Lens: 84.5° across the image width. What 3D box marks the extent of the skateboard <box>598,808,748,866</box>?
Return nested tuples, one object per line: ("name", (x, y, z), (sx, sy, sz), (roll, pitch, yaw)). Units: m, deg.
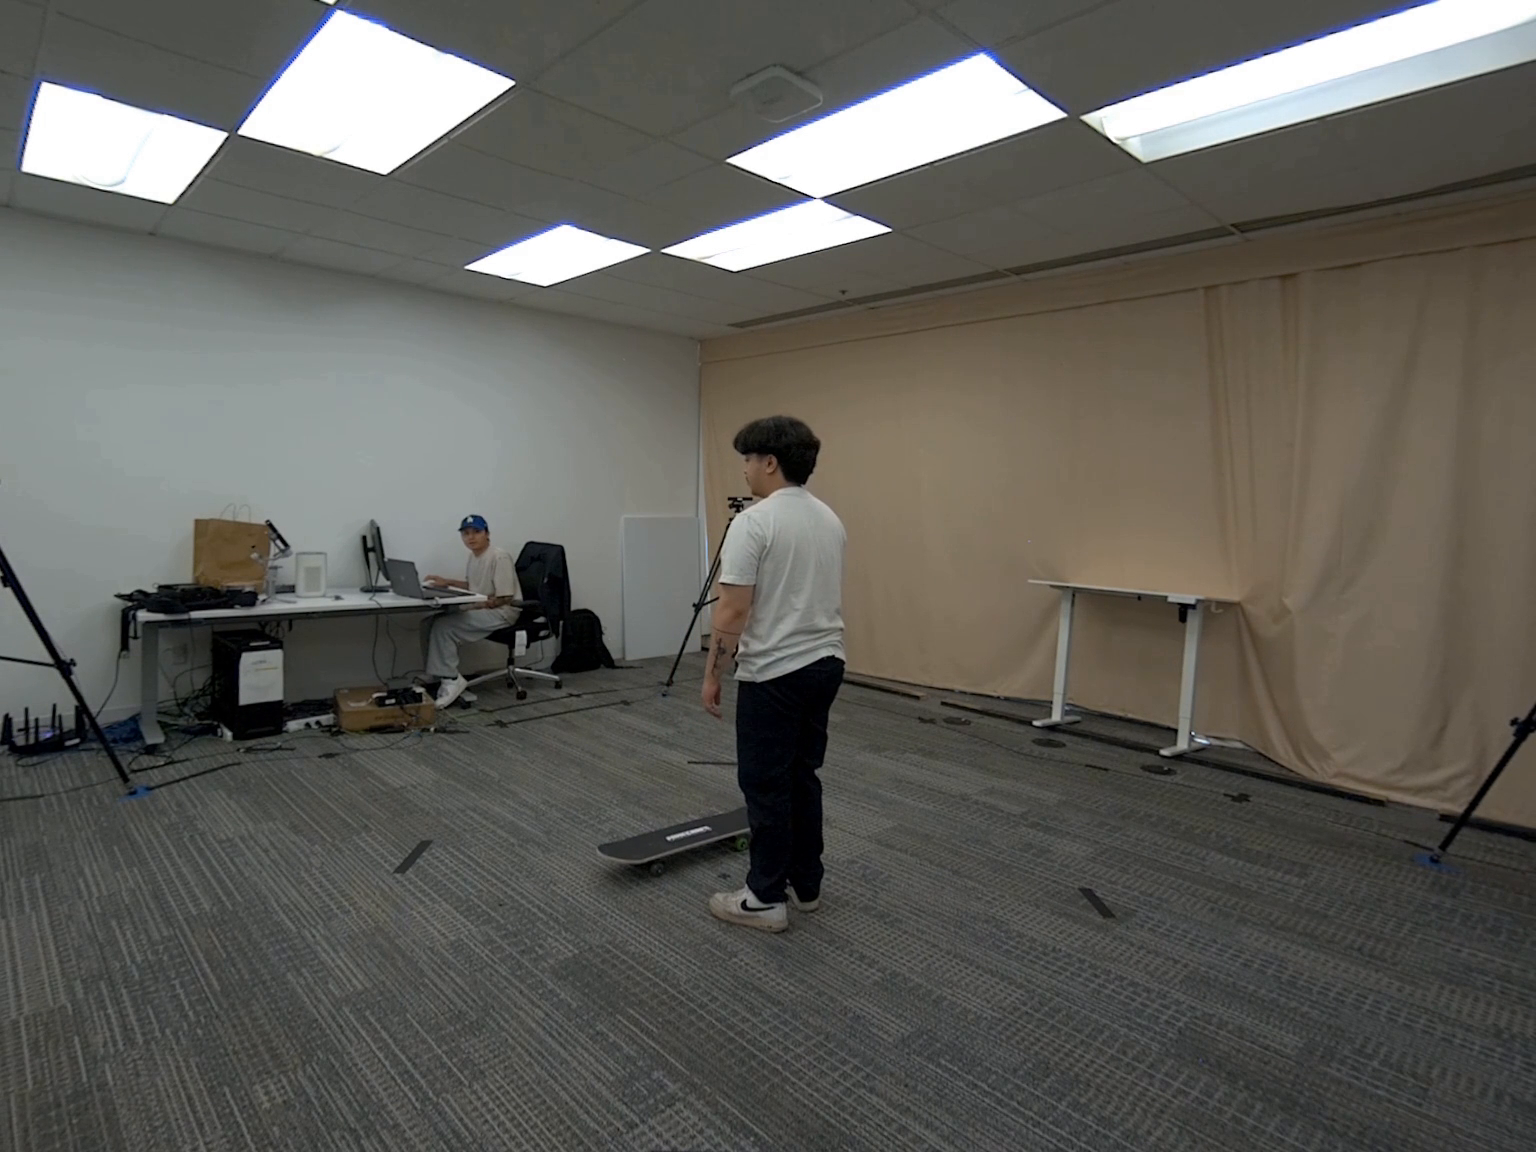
("skateboard", (-0.315, 1.031, 3.273), (0.768, 0.110, 0.198), (-2, 6, -40))
